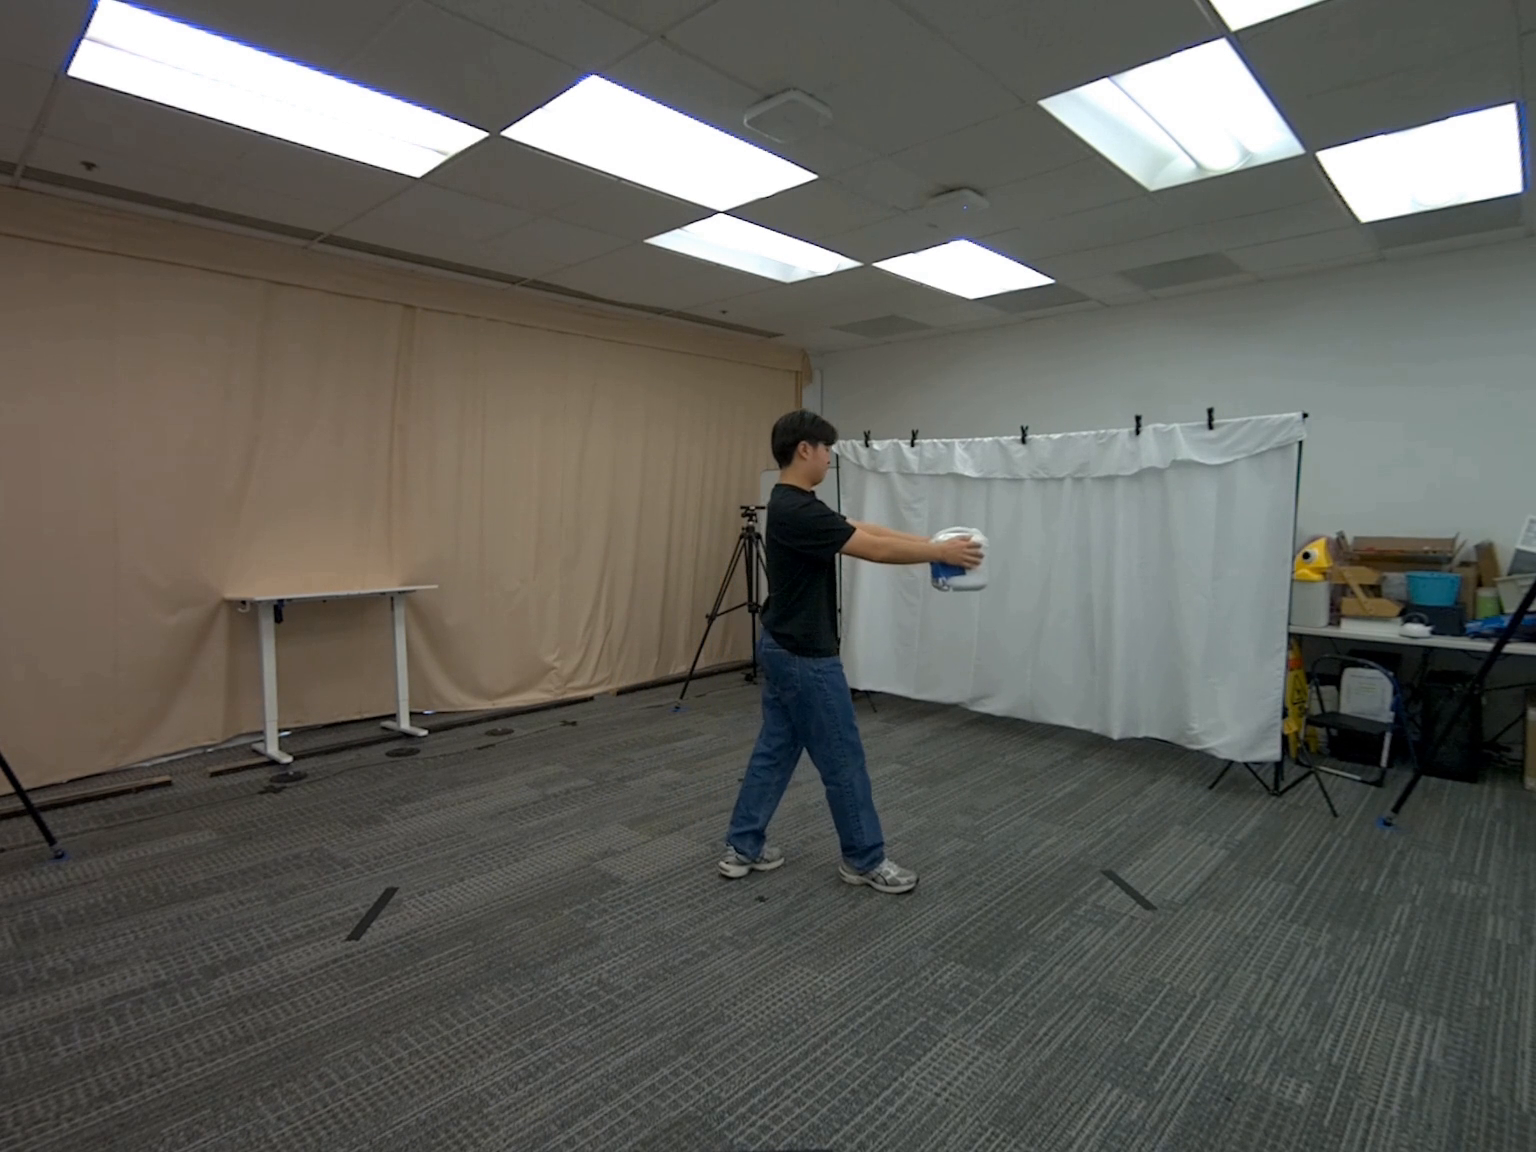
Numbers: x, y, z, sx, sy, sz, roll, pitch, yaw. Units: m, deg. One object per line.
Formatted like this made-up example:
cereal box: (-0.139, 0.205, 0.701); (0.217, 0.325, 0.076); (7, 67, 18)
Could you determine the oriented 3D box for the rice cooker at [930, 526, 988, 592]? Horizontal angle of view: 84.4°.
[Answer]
rice cooker: (0.707, -0.057, 3.101); (0.221, 0.232, 0.217); (-1, 3, 2)
